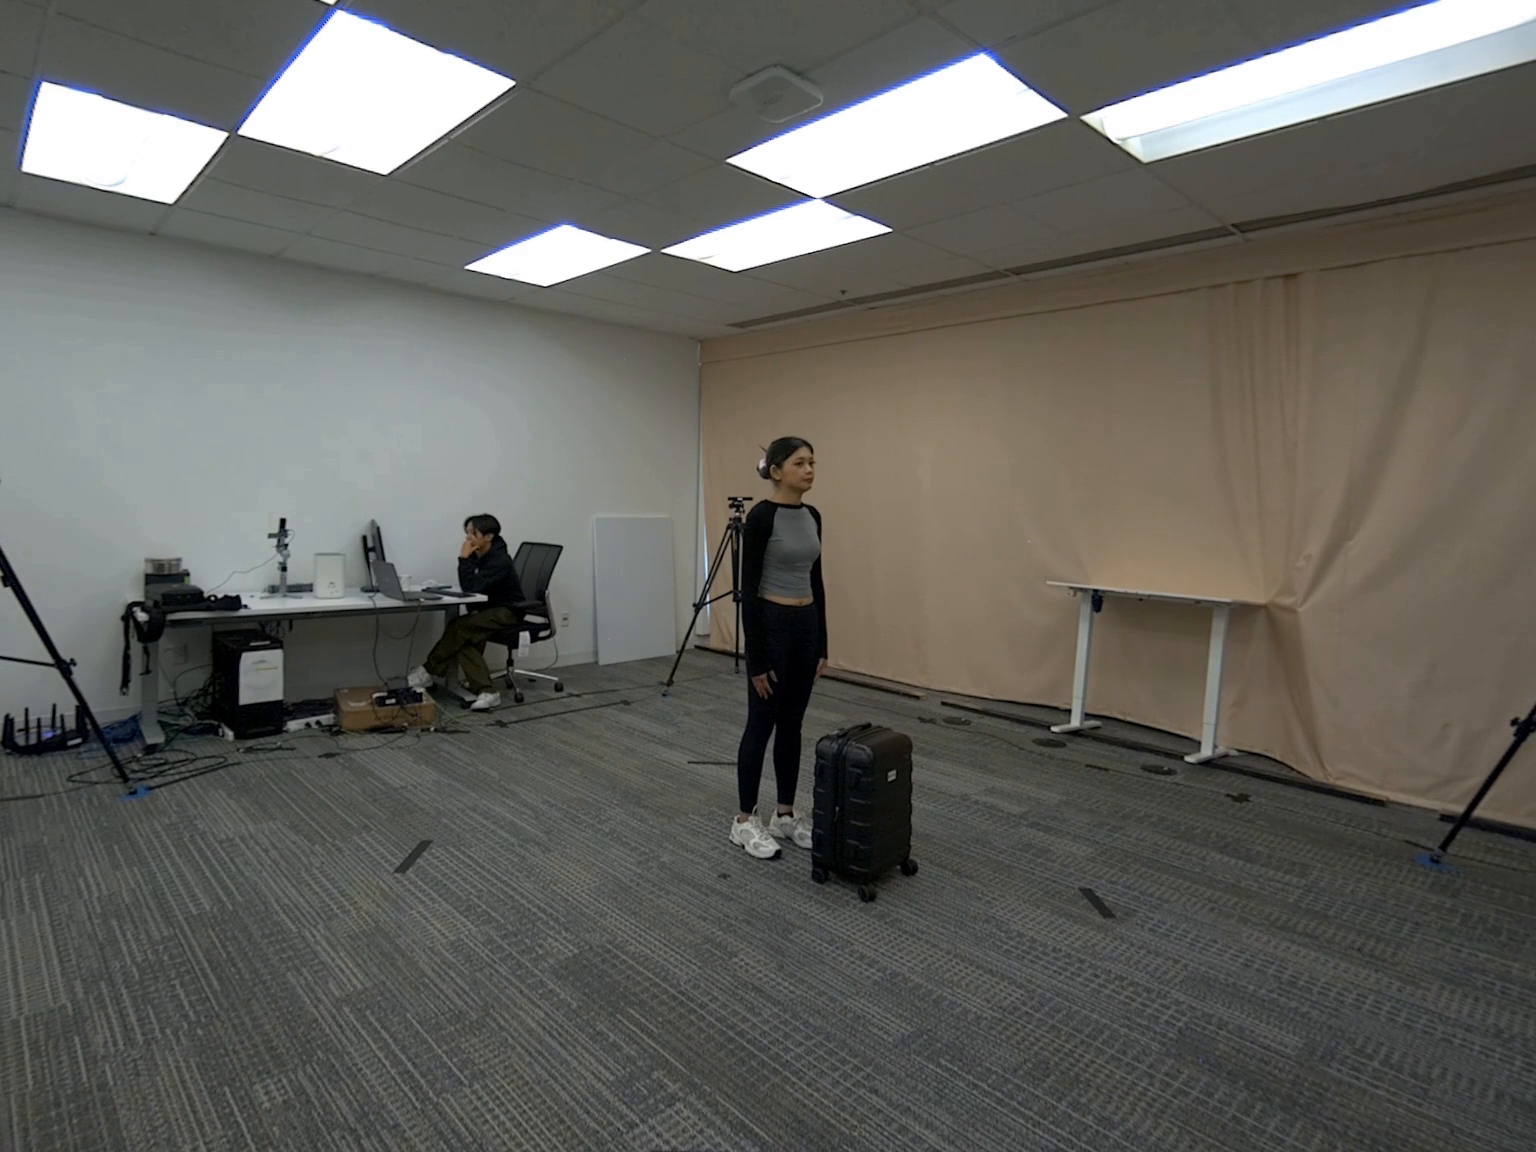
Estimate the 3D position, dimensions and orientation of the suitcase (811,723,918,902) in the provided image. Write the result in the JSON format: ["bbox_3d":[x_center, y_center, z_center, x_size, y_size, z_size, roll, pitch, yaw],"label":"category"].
[{"bbox_3d":[0.350,0.840,3.116,0.254,0.549,0.367,2,2,41],"label":"suitcase"}]
